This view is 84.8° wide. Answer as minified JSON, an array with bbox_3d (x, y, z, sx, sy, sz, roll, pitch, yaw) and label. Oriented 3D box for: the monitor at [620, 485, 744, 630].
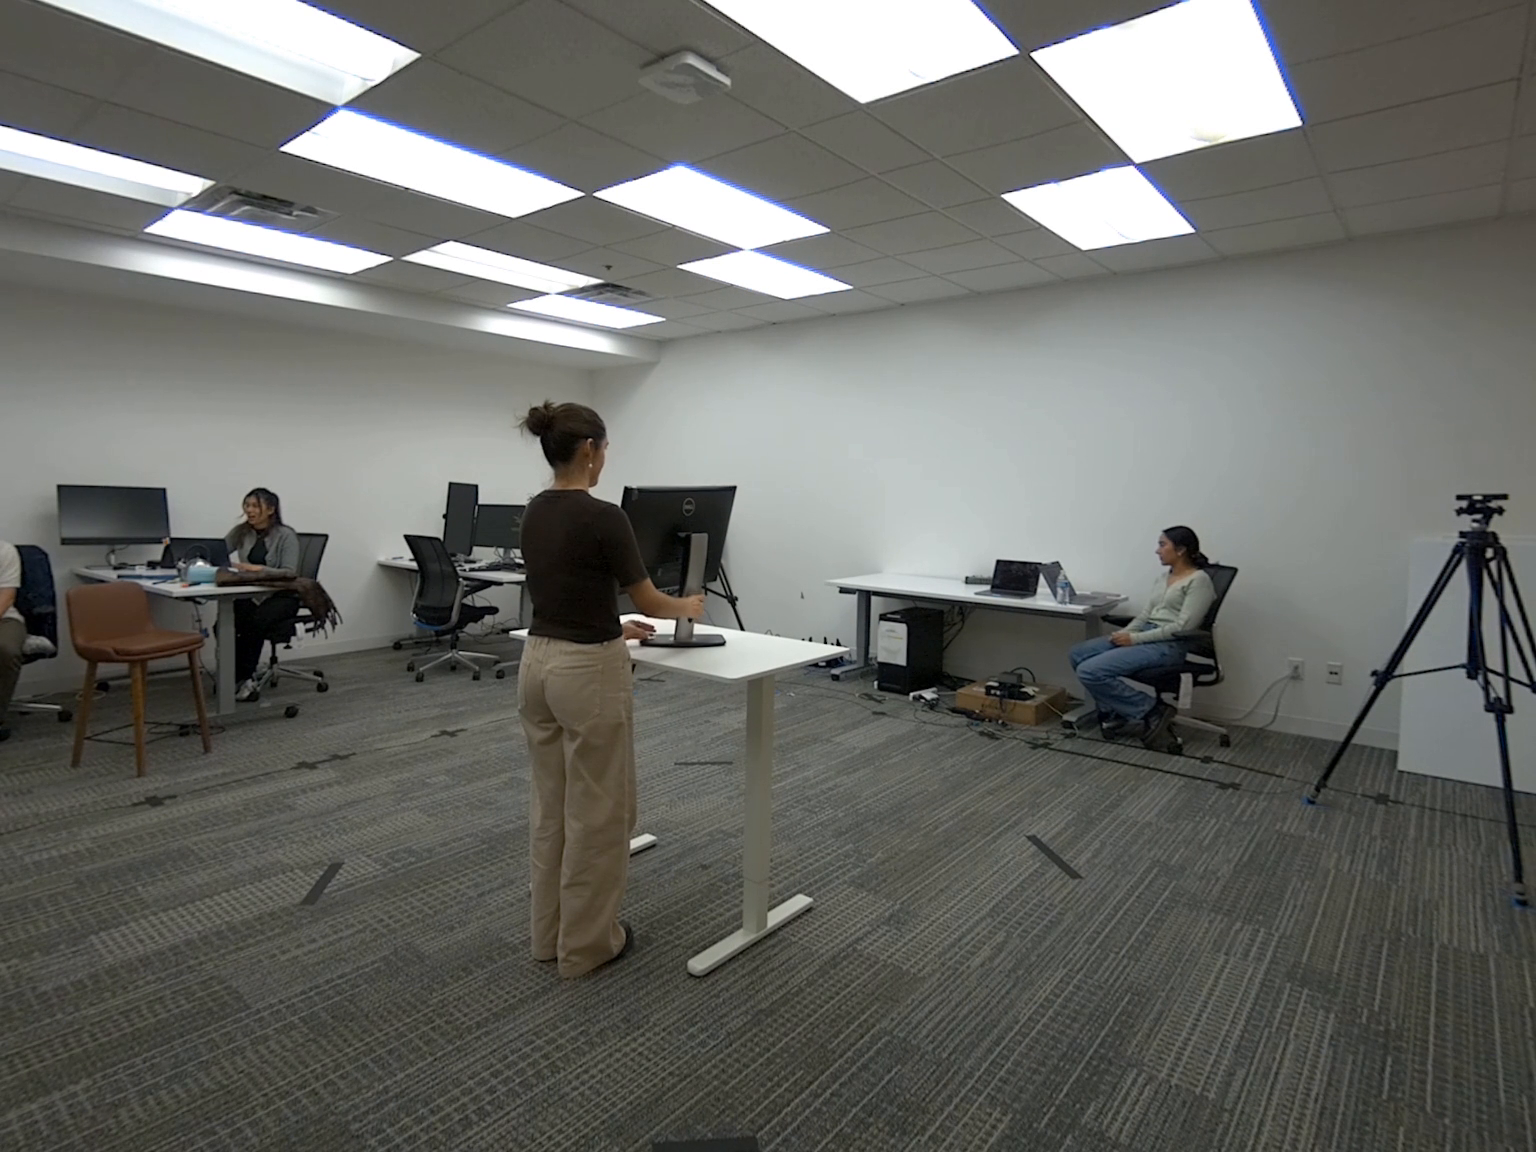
[{"bbox_3d":[-0.298,-0.035,2.744,0.192,0.520,0.526,0,5,32],"label":"monitor"}]
